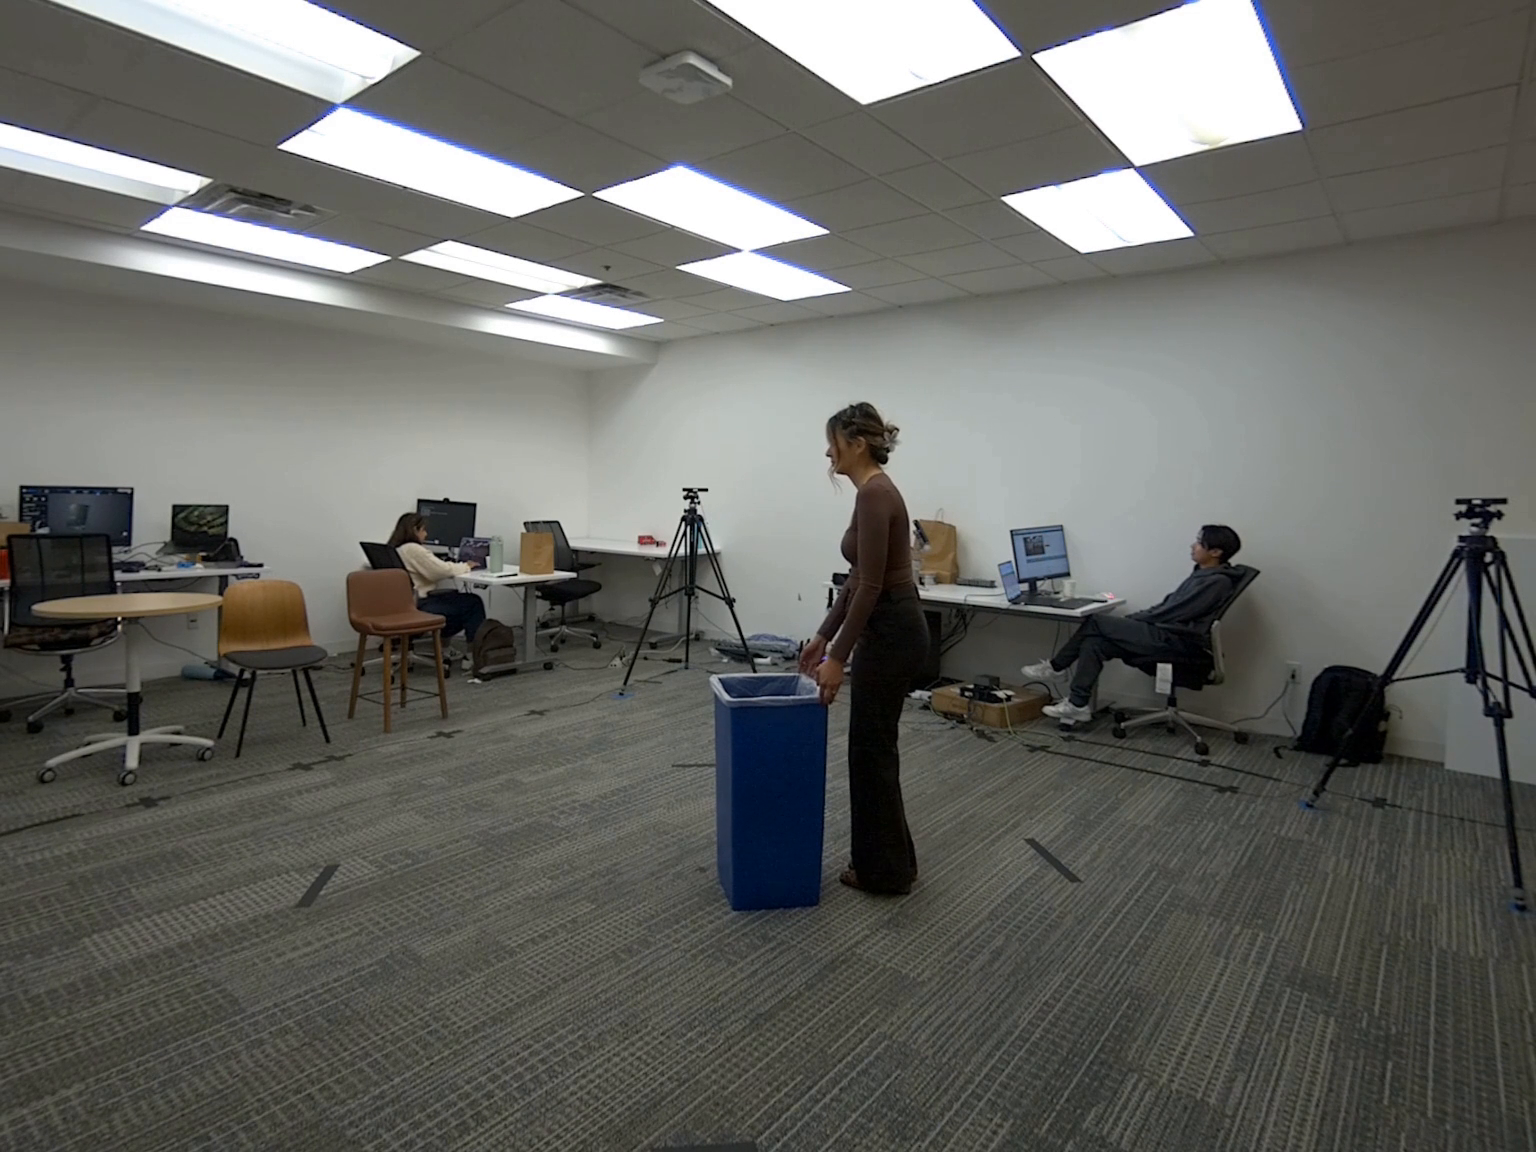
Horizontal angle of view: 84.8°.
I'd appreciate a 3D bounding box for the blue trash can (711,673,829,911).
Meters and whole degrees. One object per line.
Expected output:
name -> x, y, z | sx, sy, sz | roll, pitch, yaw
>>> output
blue trash can -> -0.014, 0.730, 2.964 | 0.373, 0.711, 0.380 | 0, 3, -13
